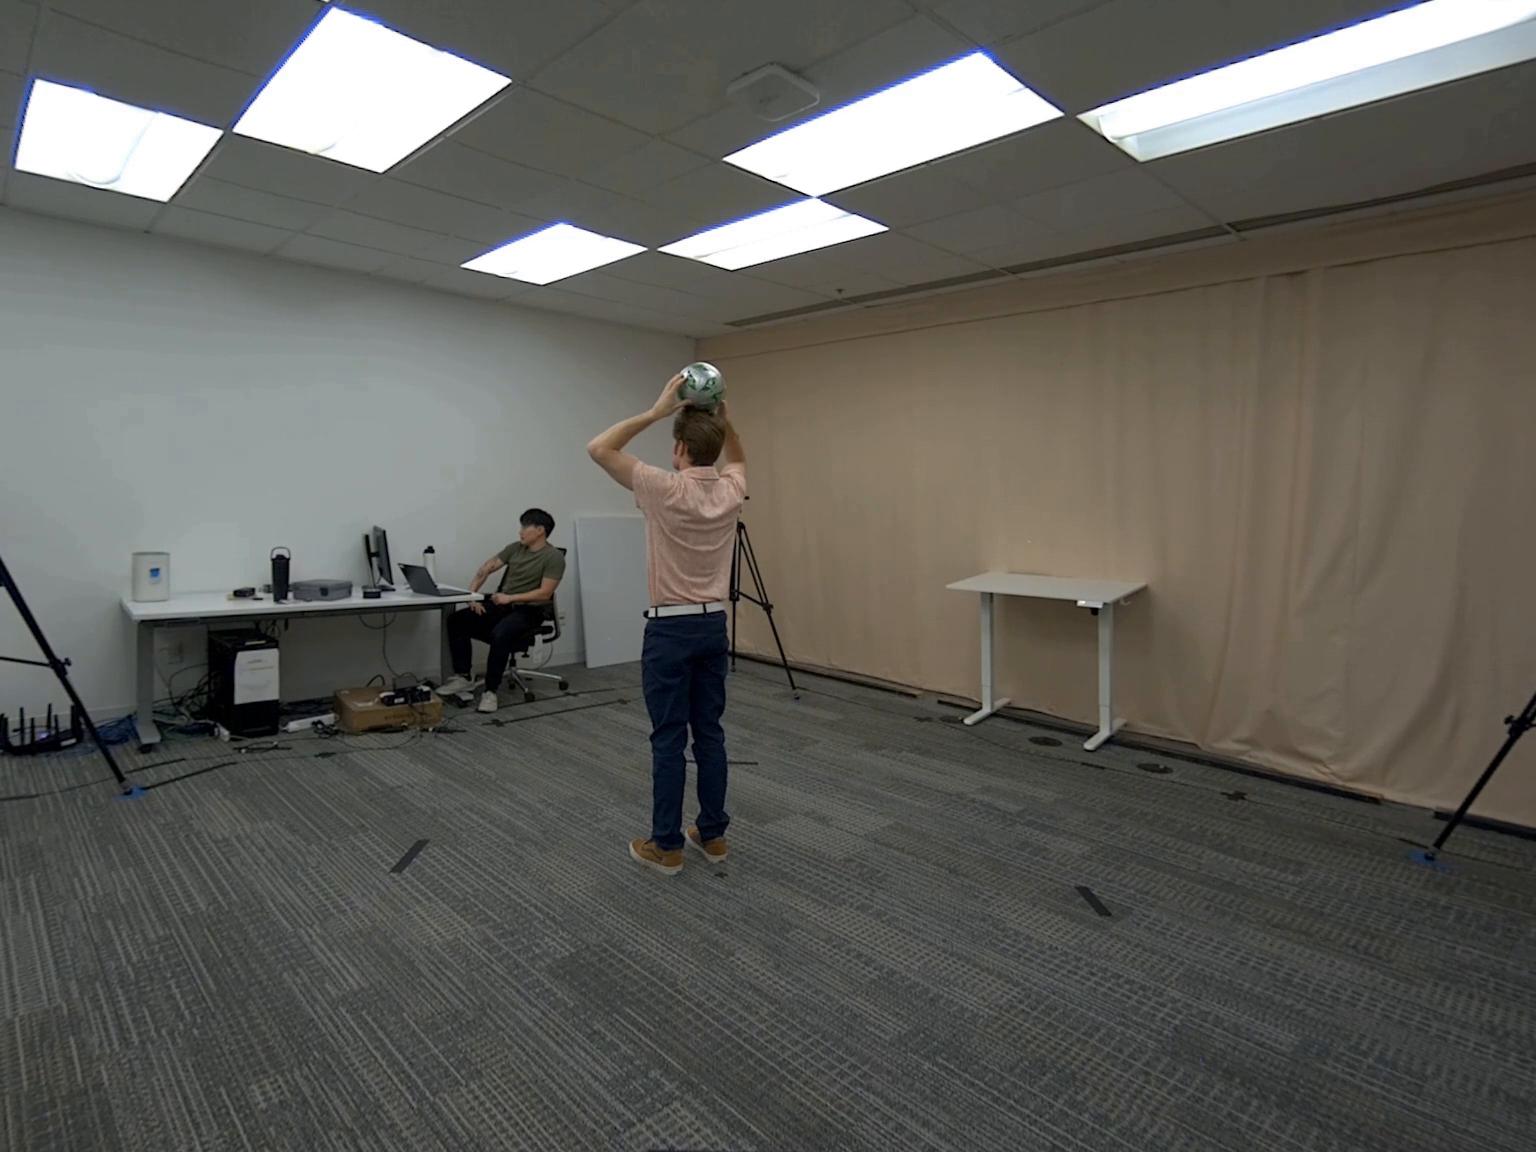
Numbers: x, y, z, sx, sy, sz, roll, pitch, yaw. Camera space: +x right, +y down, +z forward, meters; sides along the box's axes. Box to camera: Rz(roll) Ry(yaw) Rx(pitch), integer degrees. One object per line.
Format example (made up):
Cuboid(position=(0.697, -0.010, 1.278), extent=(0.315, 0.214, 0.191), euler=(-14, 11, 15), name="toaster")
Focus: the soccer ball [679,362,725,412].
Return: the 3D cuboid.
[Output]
Cuboid(position=(-0.260, -0.696, 3.144), extent=(0.187, 0.187, 0.188), euler=(1, 4, -1), name="soccer ball")
